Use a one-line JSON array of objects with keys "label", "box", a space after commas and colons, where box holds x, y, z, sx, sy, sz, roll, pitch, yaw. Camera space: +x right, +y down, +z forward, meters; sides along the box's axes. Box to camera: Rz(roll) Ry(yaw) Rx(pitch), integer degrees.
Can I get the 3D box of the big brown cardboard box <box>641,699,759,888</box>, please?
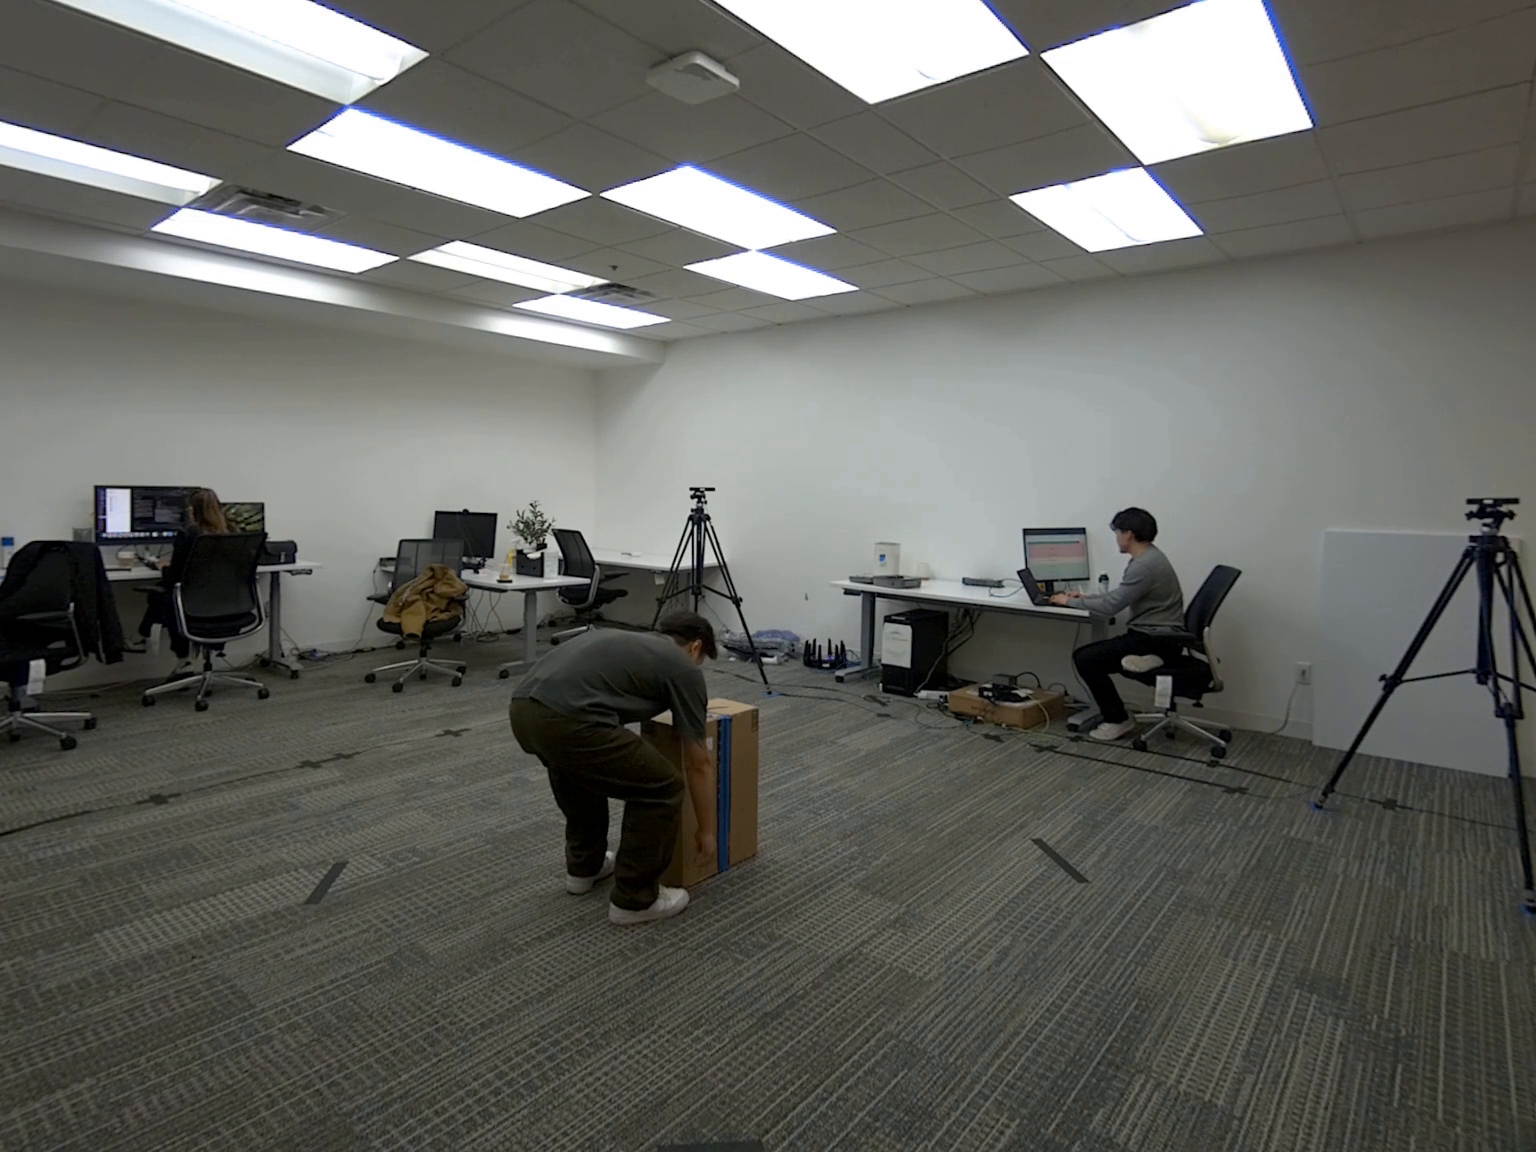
[{"label": "big brown cardboard box", "box": [-0.255, 0.777, 3.140, 0.241, 0.586, 0.405, 4, 6, 40]}]
